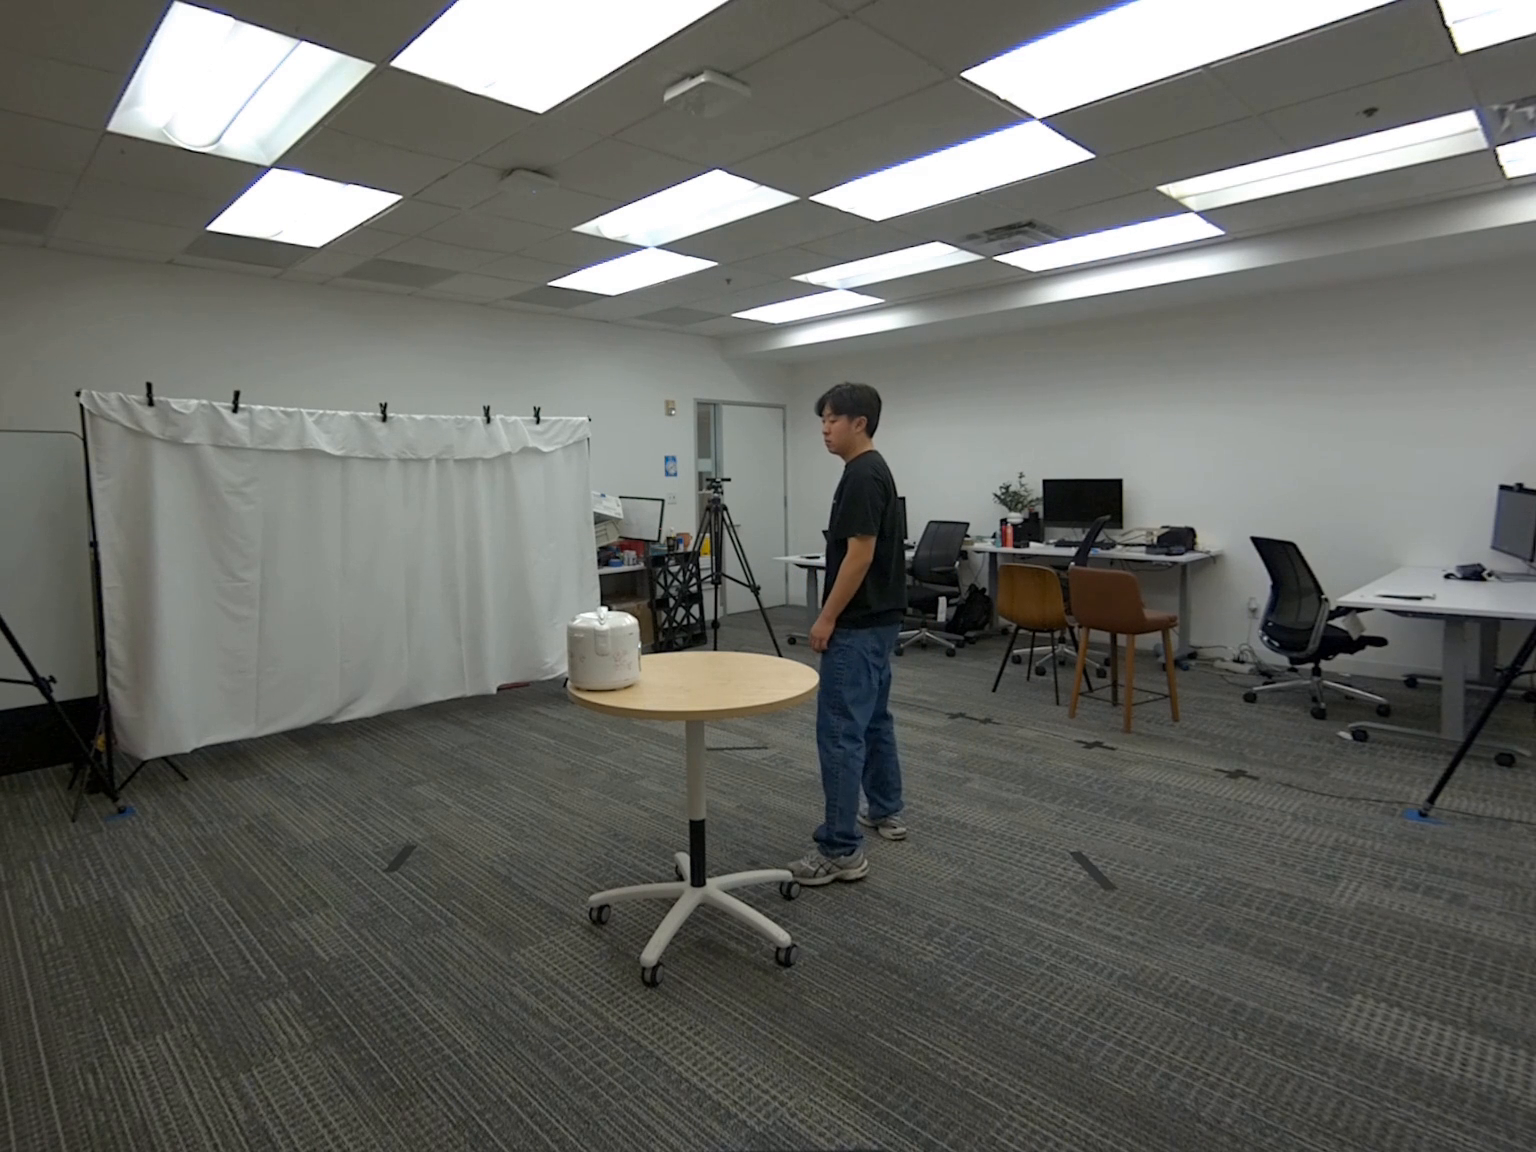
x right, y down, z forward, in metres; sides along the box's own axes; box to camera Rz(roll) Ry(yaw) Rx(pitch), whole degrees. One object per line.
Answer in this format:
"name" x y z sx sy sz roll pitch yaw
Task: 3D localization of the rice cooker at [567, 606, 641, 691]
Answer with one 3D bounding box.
"rice cooker" -0.484 0.208 2.527 0.216 0.232 0.223 -4 6 -8
